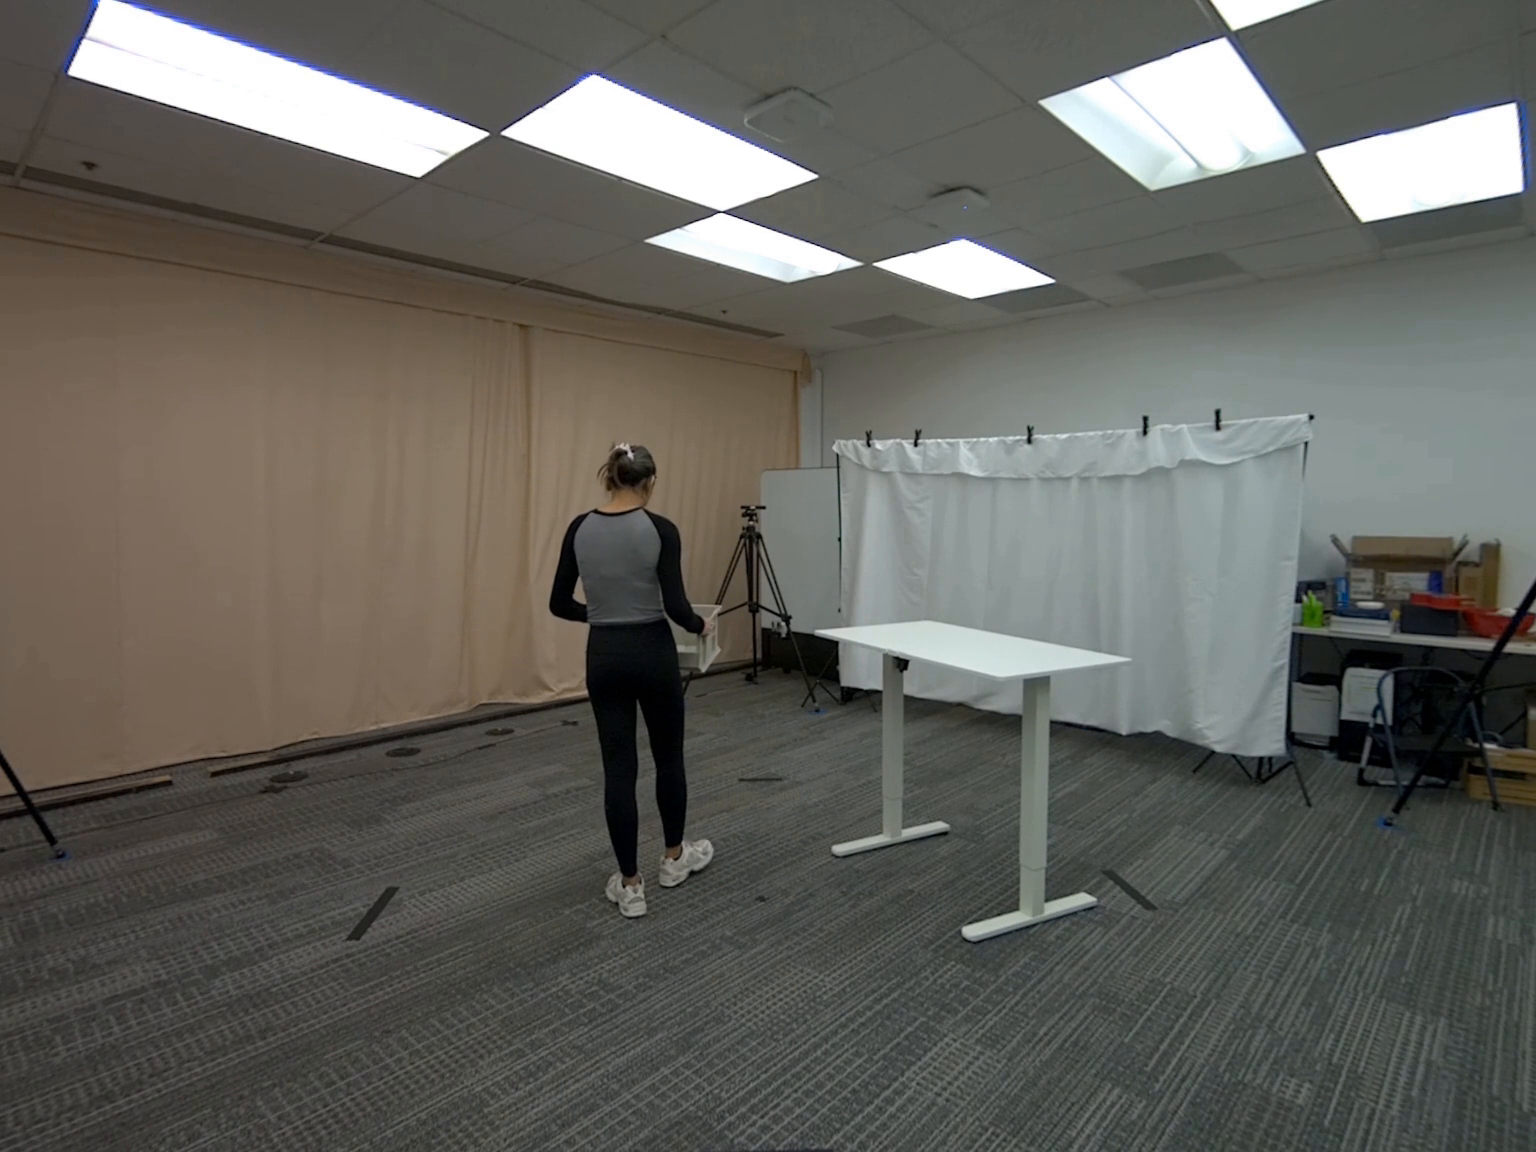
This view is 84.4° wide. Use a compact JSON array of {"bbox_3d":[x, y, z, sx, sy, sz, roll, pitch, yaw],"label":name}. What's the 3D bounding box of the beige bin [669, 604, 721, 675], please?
[{"bbox_3d":[-0.414,0.241,3.233,0.428,0.188,0.374,1,10,13],"label":"beige bin"}]
